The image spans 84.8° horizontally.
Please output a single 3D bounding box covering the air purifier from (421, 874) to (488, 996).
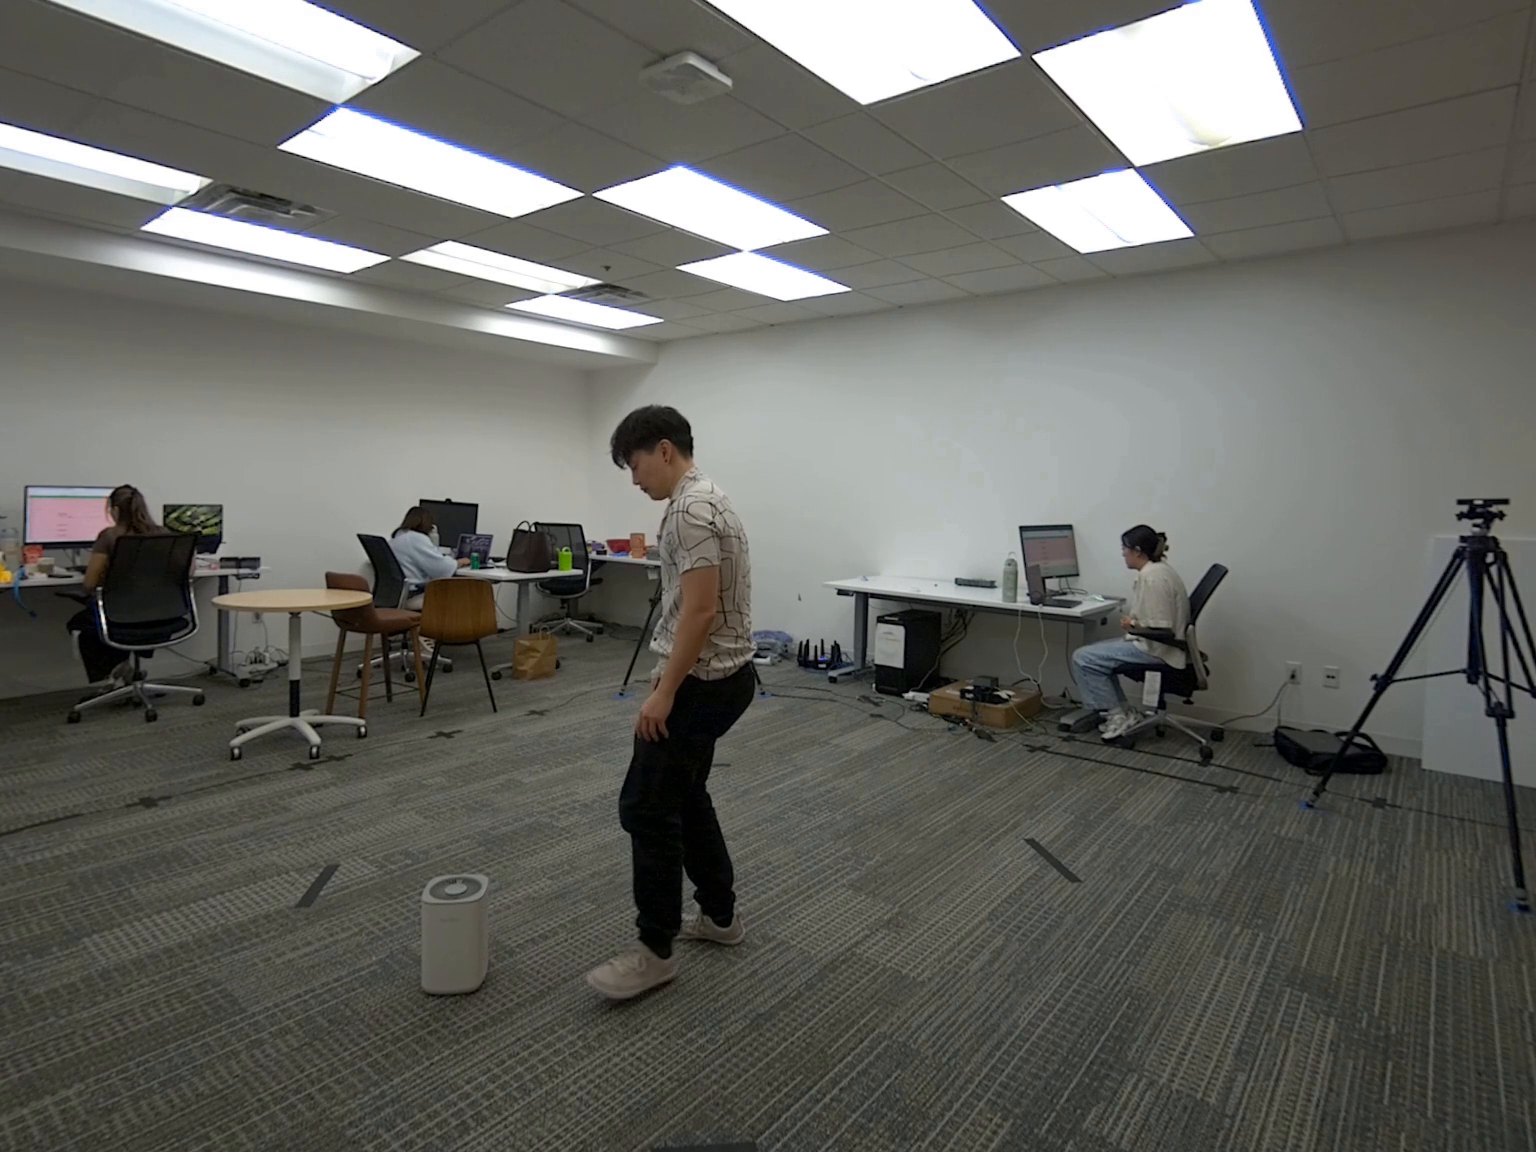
[{"bbox_3d":[-0.883,0.998,2.382,0.170,0.265,0.173,-1,3,-10],"label":"air purifier"}]
